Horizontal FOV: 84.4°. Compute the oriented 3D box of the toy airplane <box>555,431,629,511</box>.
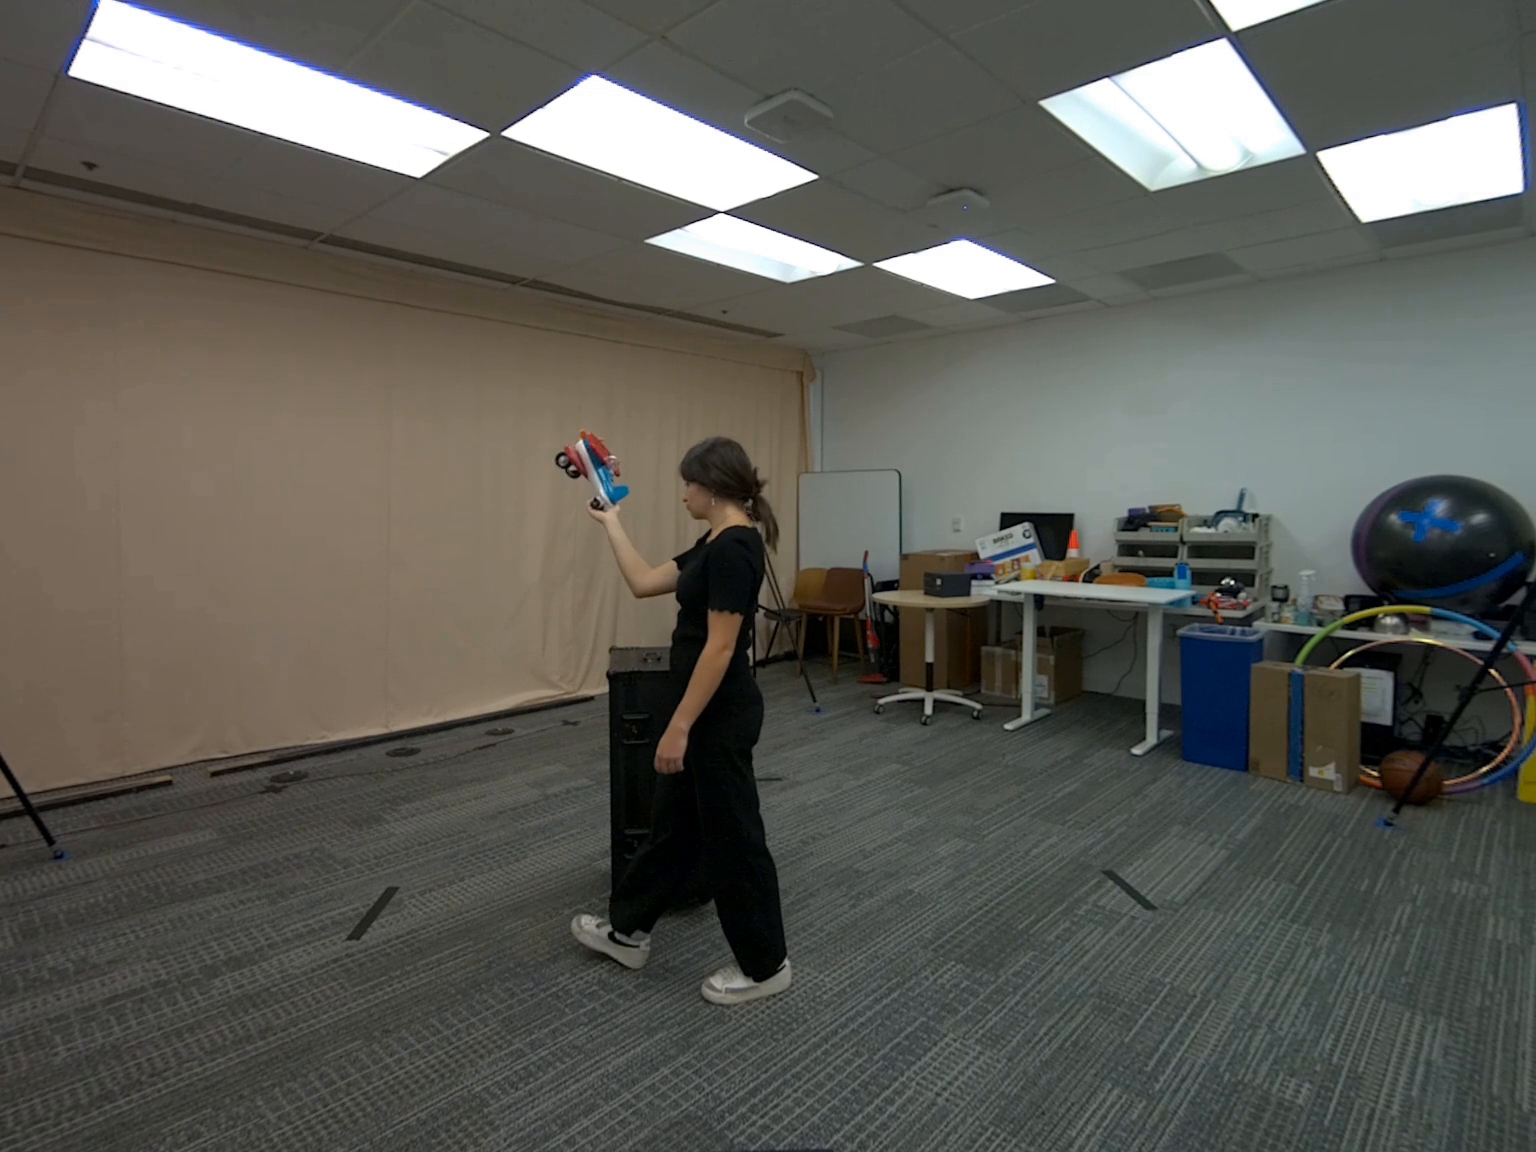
[{"bbox_3d":[-0.553,-0.334,2.724,0.156,0.257,0.254,-41,9,-1],"label":"toy airplane"}]
